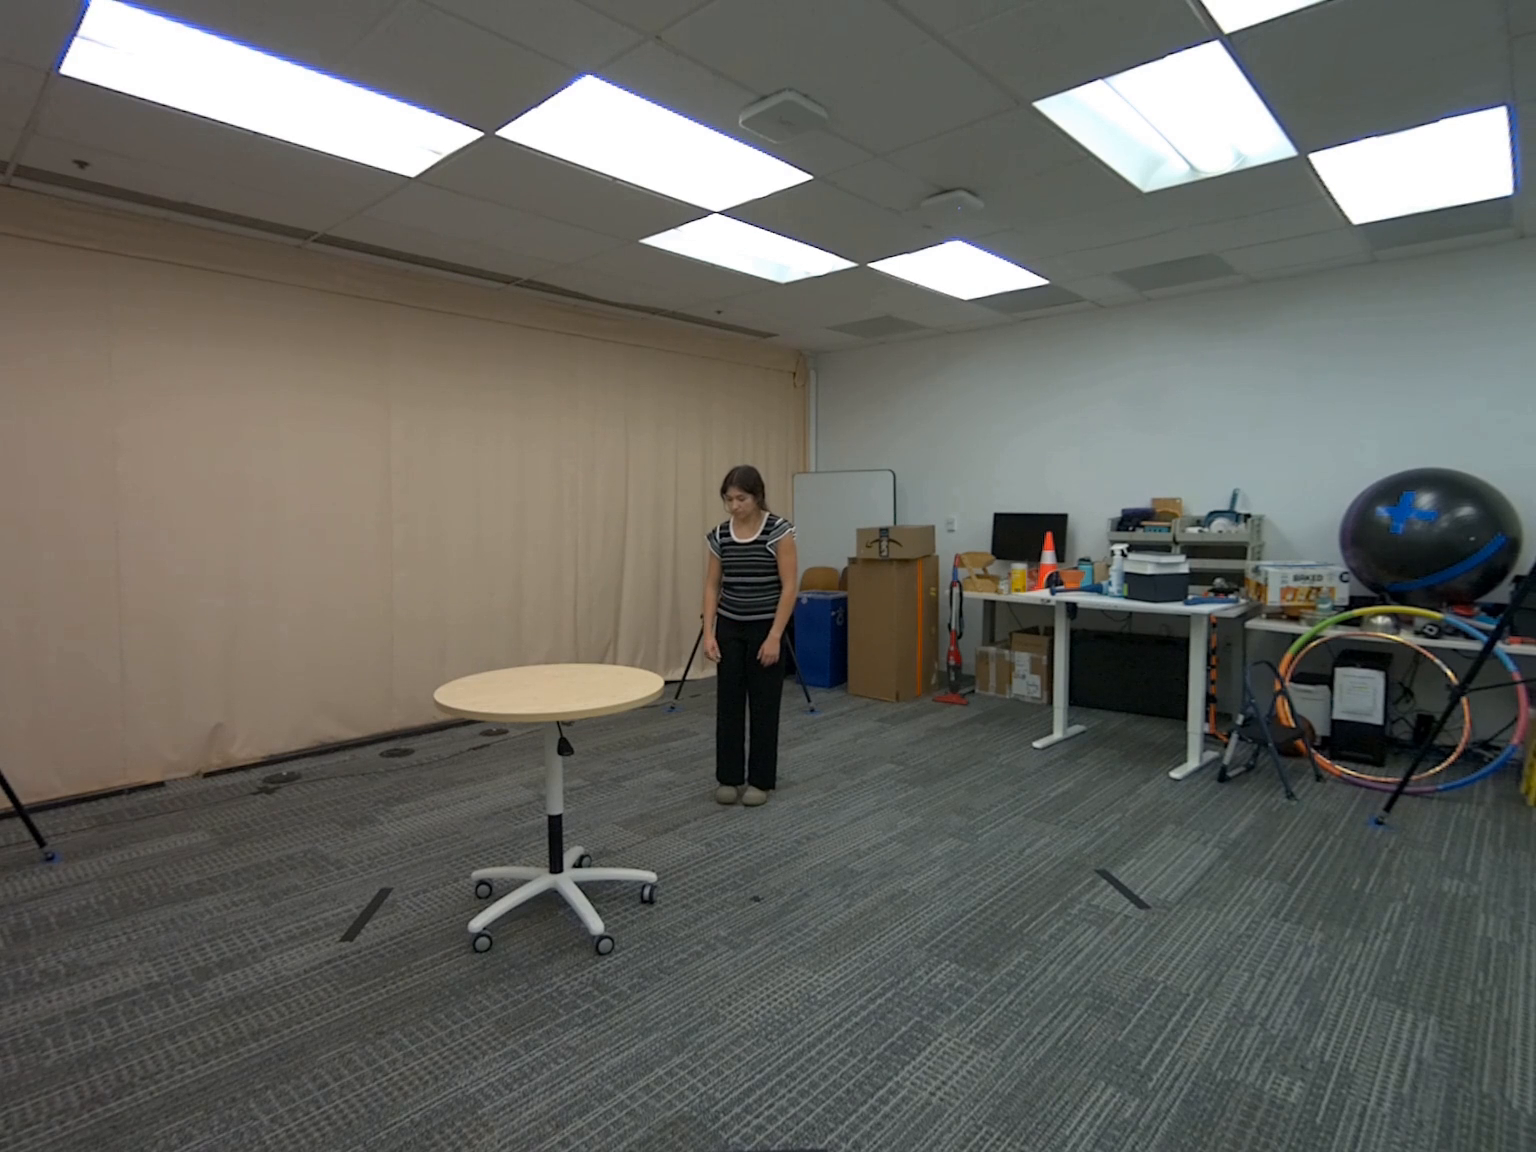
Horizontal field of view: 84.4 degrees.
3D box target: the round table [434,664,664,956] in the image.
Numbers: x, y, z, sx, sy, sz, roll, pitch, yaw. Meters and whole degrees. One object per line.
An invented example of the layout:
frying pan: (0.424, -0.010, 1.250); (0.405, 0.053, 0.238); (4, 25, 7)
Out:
round table: (-0.730, 0.770, 2.877); (0.763, 0.792, 0.766); (-1, 4, -2)
